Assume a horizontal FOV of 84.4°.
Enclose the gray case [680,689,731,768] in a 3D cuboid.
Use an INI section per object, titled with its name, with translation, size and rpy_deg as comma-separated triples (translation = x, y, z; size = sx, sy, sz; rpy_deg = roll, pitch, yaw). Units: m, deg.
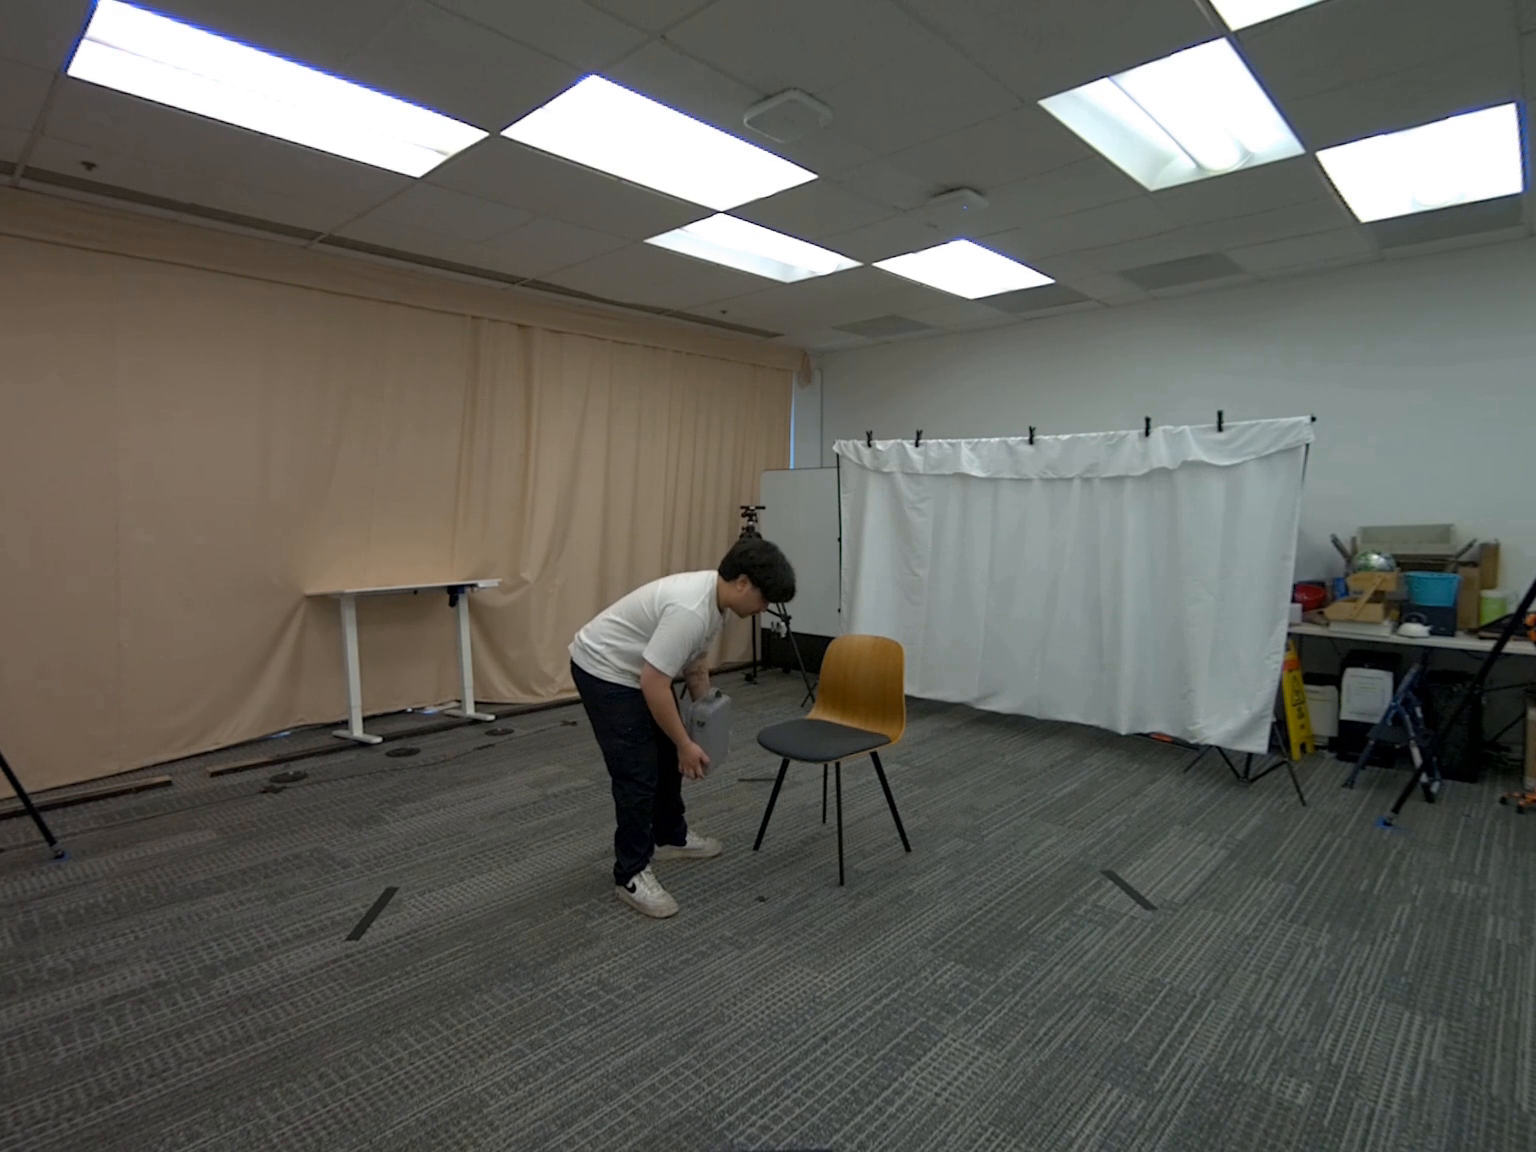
[gray case]
translation = -0.213, 0.567, 3.077
size = 0.106, 0.259, 0.254
rpy_deg = 8, 8, 13
